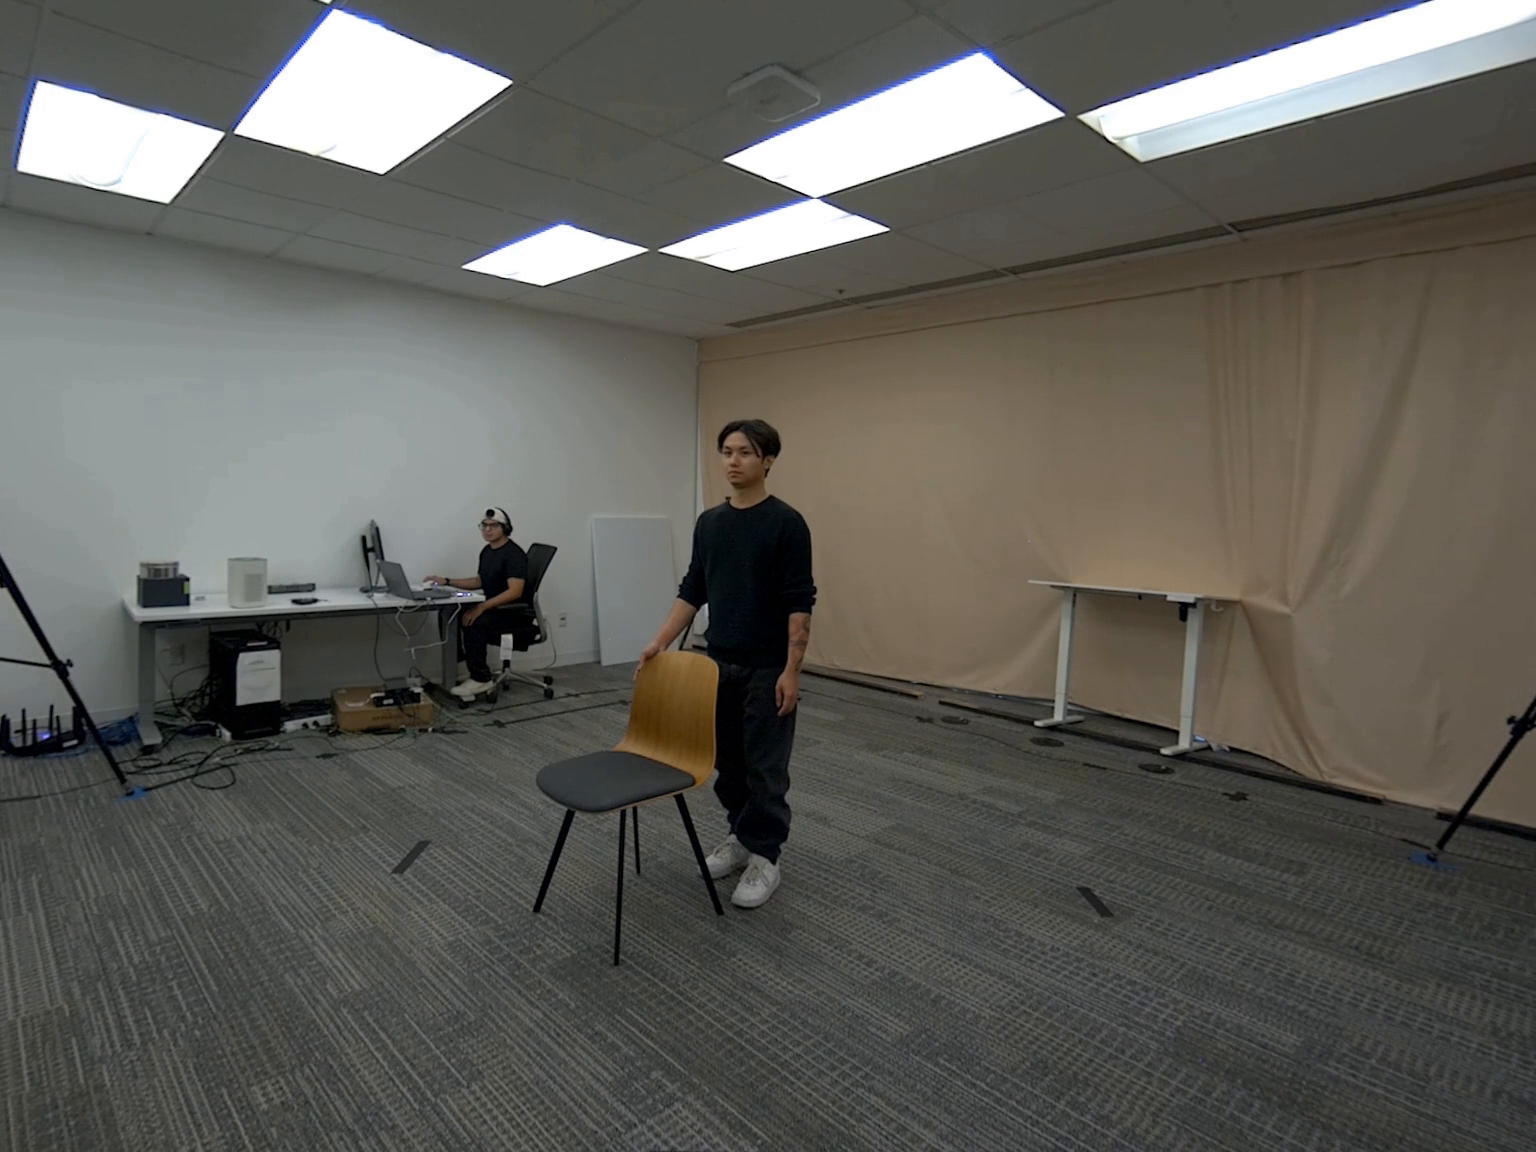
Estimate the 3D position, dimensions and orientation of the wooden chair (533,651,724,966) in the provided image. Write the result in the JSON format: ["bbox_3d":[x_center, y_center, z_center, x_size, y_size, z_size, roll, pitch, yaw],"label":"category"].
[{"bbox_3d":[-0.463,0.703,2.766,0.490,0.877,0.510,5,0,43],"label":"wooden chair"}]
